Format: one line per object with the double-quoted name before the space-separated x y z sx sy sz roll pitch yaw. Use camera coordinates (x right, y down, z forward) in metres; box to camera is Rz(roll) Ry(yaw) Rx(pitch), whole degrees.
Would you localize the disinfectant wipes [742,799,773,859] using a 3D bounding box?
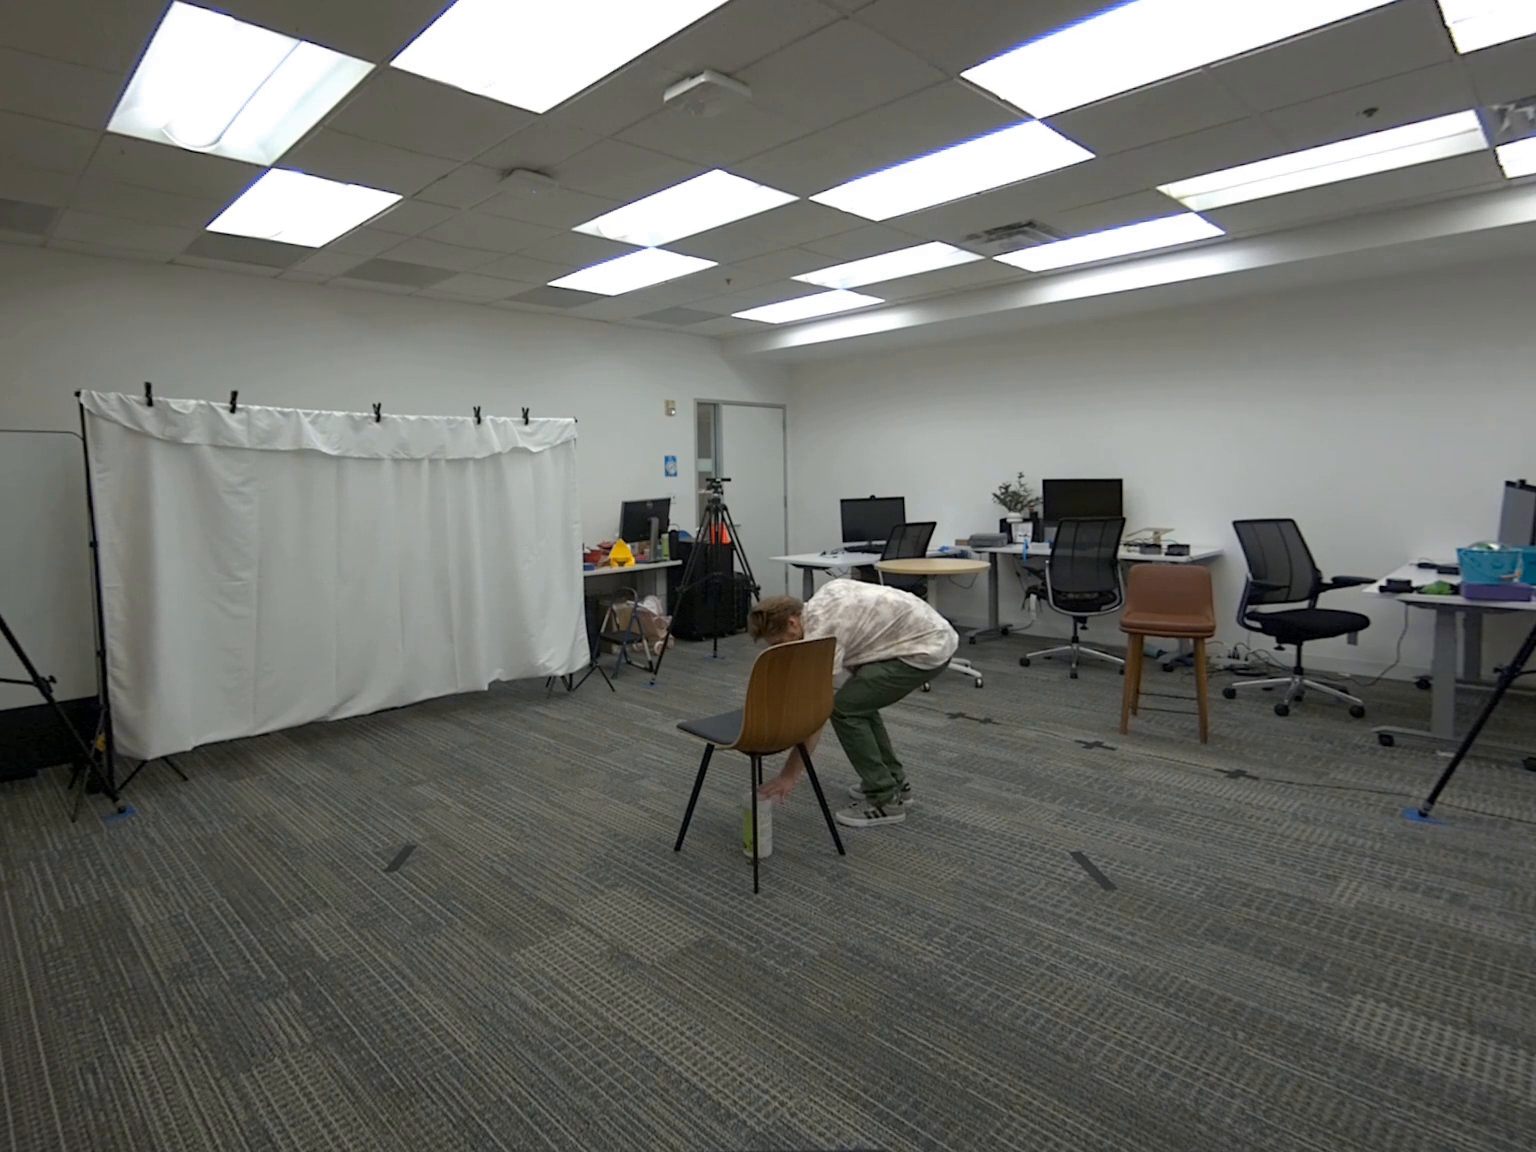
"disinfectant wipes" -0.035 0.938 3.185 0.118 0.216 0.119 -2 9 -1
